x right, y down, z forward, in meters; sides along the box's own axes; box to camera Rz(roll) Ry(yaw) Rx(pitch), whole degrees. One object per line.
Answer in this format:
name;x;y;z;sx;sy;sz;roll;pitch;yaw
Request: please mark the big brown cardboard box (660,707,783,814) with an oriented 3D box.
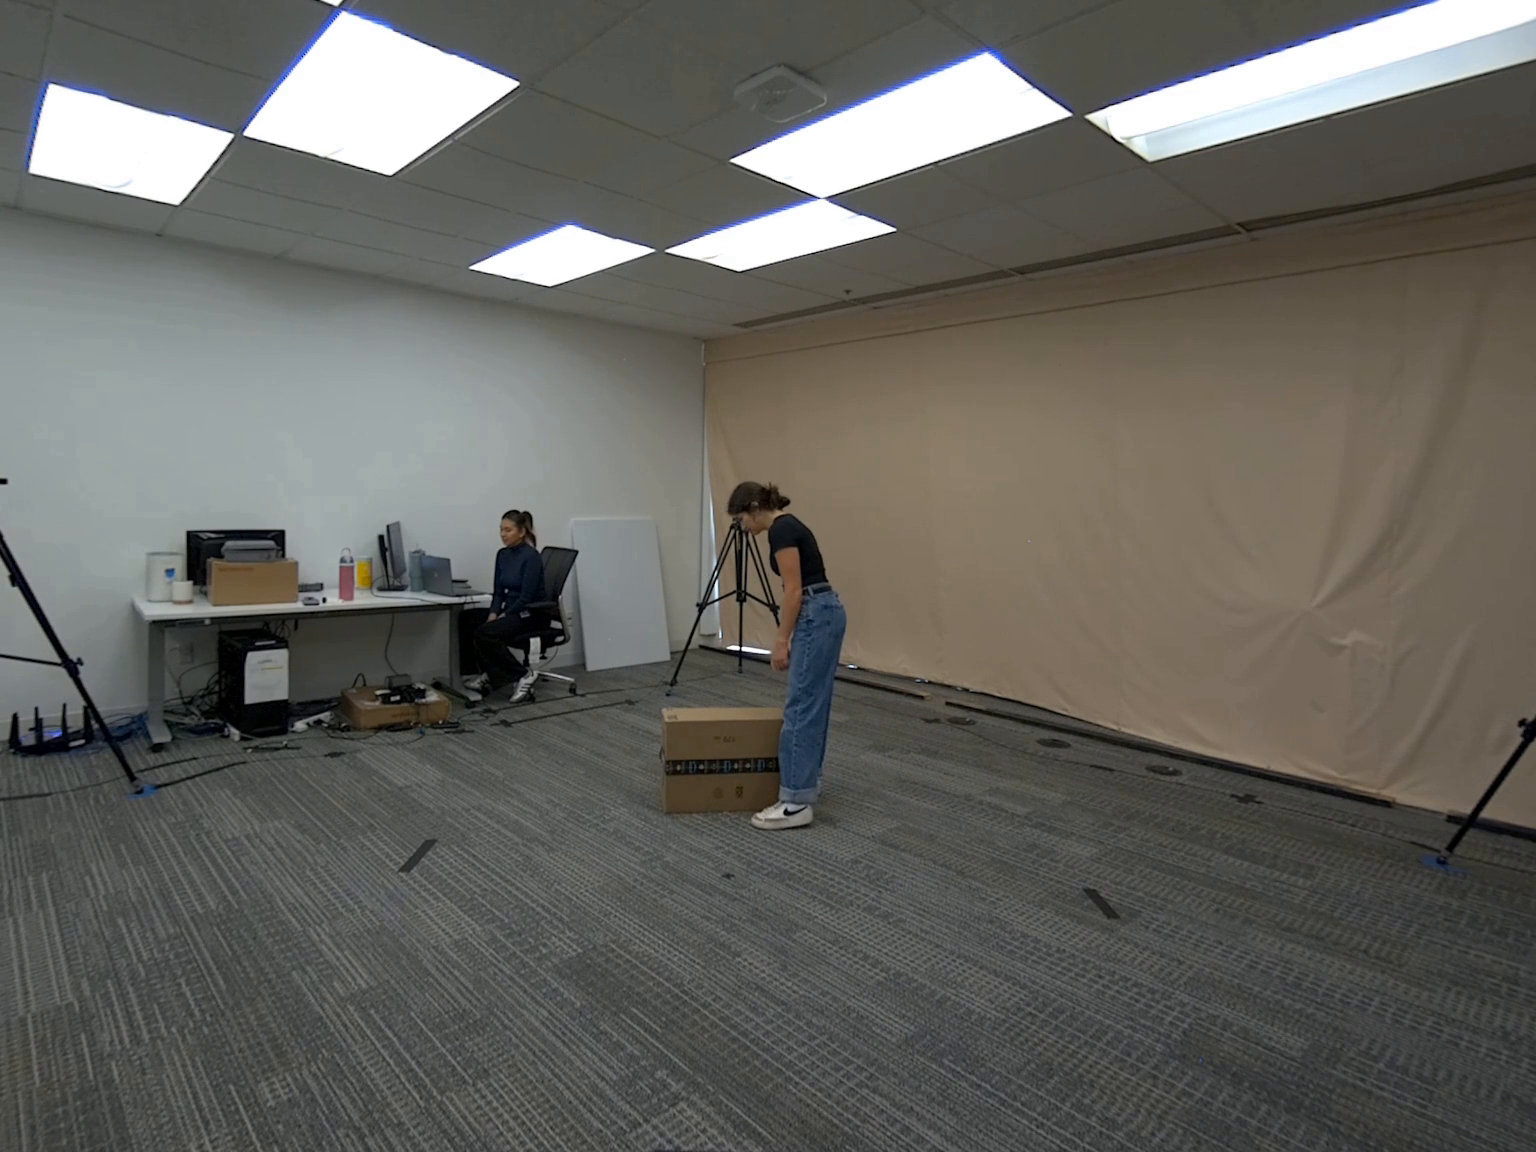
big brown cardboard box;-0.213;0.833;3.840;0.584;0.416;0.235;1;5;-9
